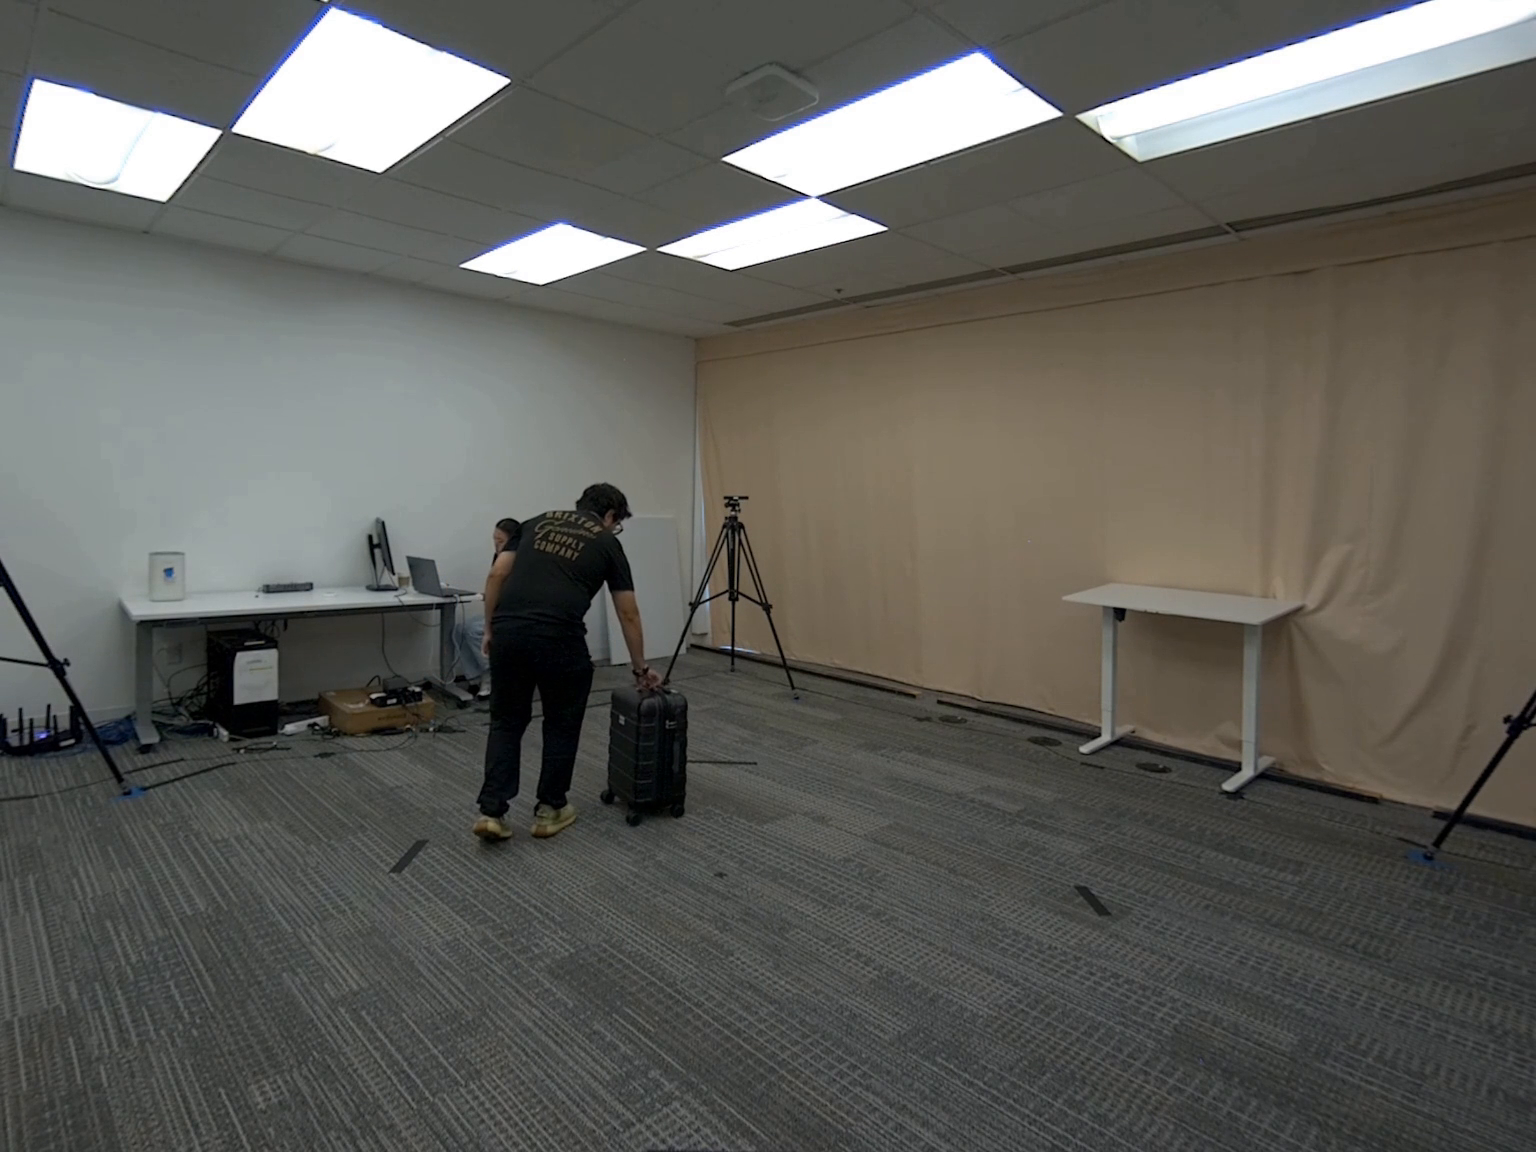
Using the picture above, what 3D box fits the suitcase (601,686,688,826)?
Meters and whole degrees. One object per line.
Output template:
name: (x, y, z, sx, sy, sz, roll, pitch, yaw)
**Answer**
suitcase: (-0.543, 0.761, 3.743, 0.243, 0.548, 0.384, 1, 4, -34)
